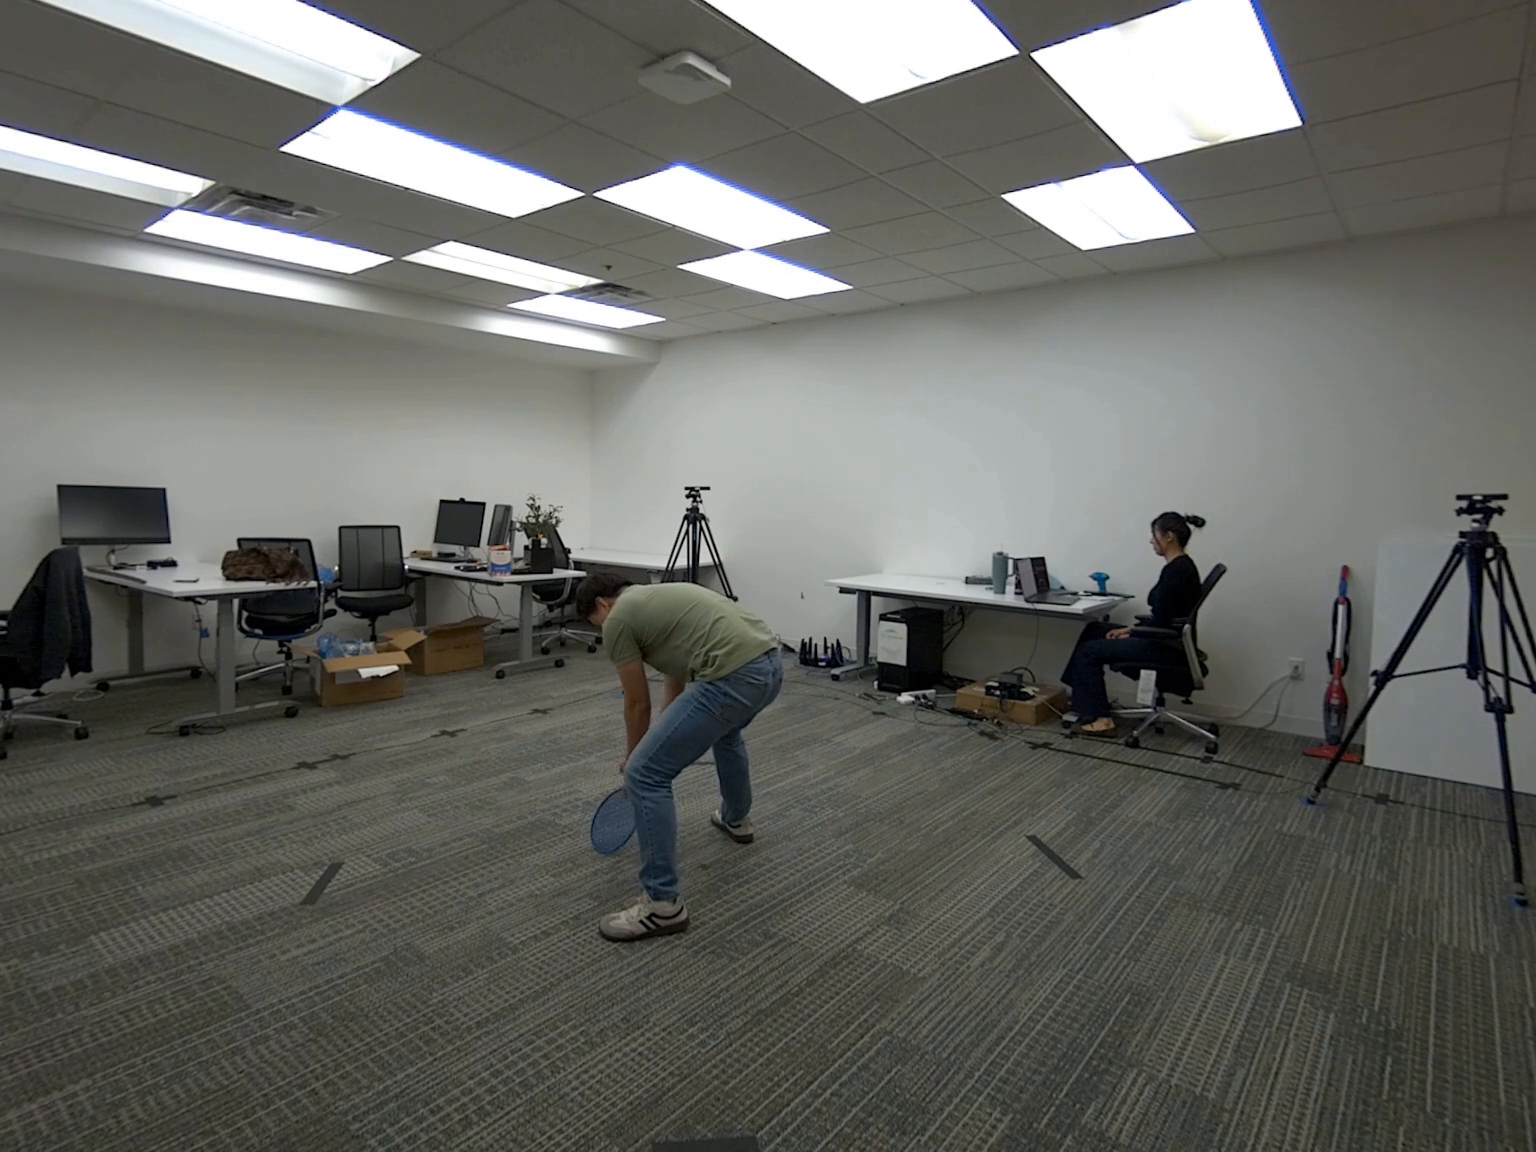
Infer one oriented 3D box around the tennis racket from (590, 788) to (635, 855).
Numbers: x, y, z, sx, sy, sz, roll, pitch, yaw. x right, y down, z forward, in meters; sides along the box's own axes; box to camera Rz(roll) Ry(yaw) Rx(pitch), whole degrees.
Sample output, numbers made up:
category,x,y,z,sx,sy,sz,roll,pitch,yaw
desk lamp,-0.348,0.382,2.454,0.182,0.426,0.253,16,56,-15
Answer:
category,x,y,z,sx,sy,sz,roll,pitch,yaw
tennis racket,-0.546,0.875,3.244,0.031,0.432,0.217,37,13,-11
